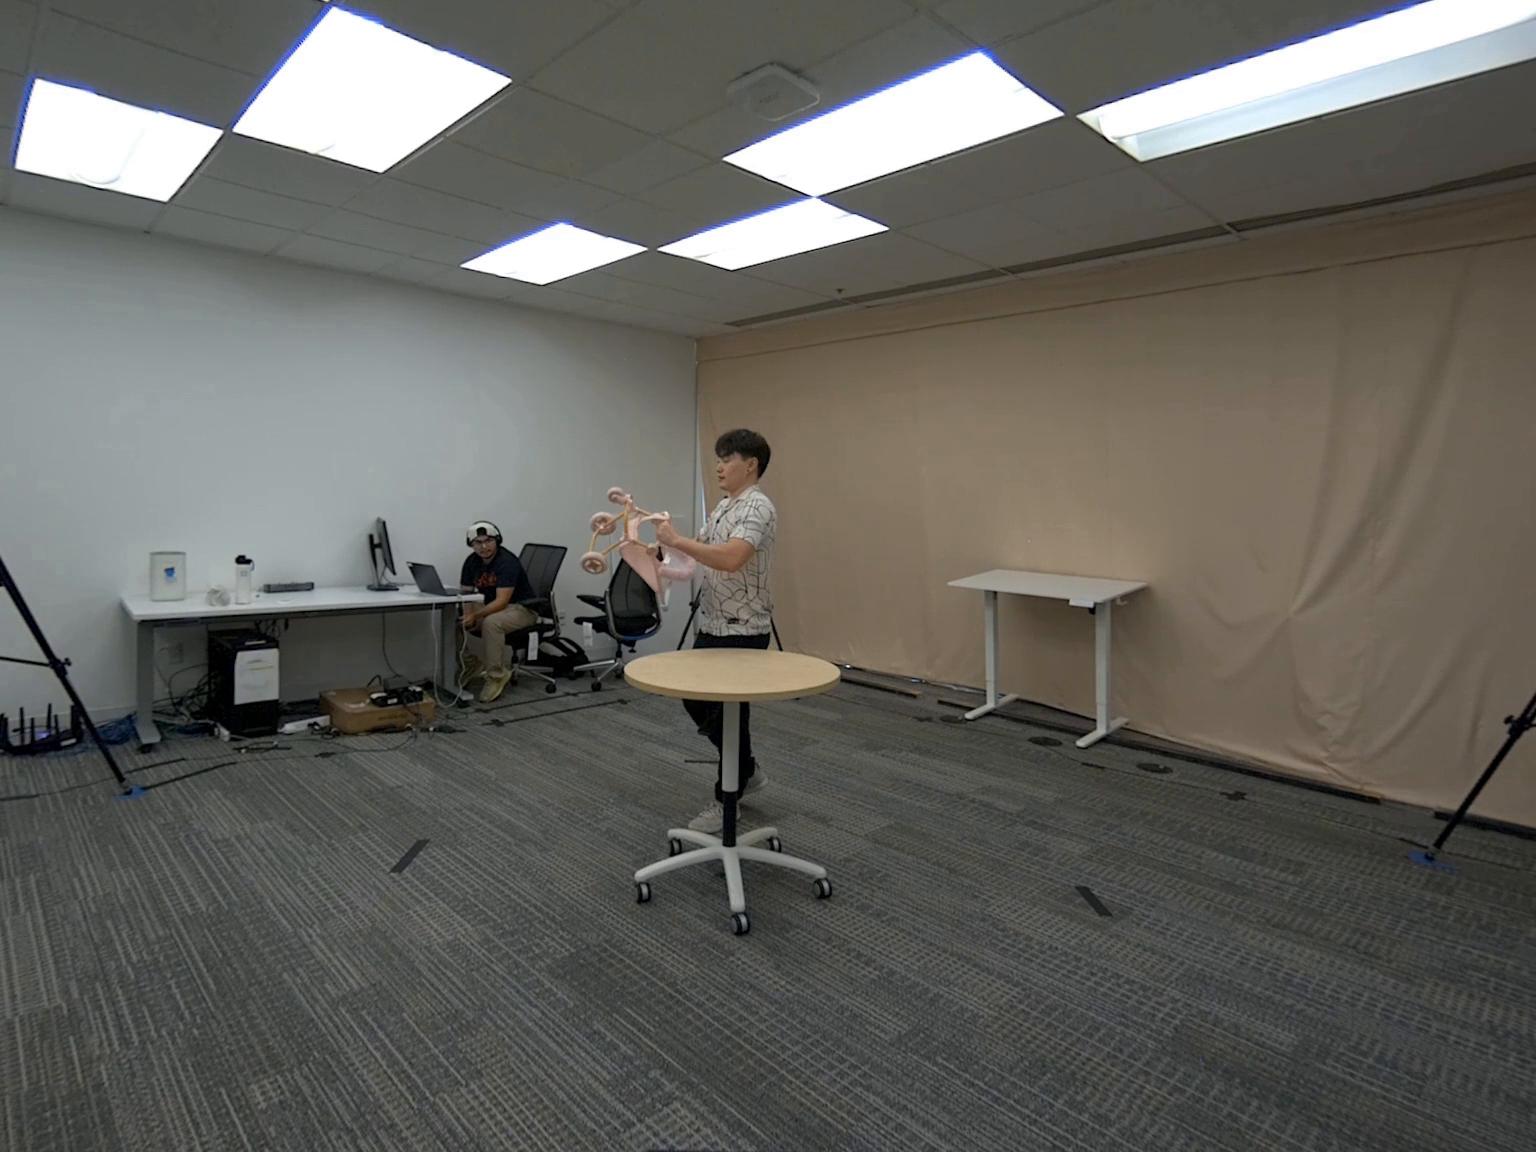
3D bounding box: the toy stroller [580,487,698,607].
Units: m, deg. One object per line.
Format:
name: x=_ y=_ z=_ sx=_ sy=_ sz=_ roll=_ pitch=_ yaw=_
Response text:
toy stroller: x=-0.507 y=-0.121 z=3.402 sx=0.522 sy=0.342 sz=0.287 roll=34 pitch=29 yaw=-24
